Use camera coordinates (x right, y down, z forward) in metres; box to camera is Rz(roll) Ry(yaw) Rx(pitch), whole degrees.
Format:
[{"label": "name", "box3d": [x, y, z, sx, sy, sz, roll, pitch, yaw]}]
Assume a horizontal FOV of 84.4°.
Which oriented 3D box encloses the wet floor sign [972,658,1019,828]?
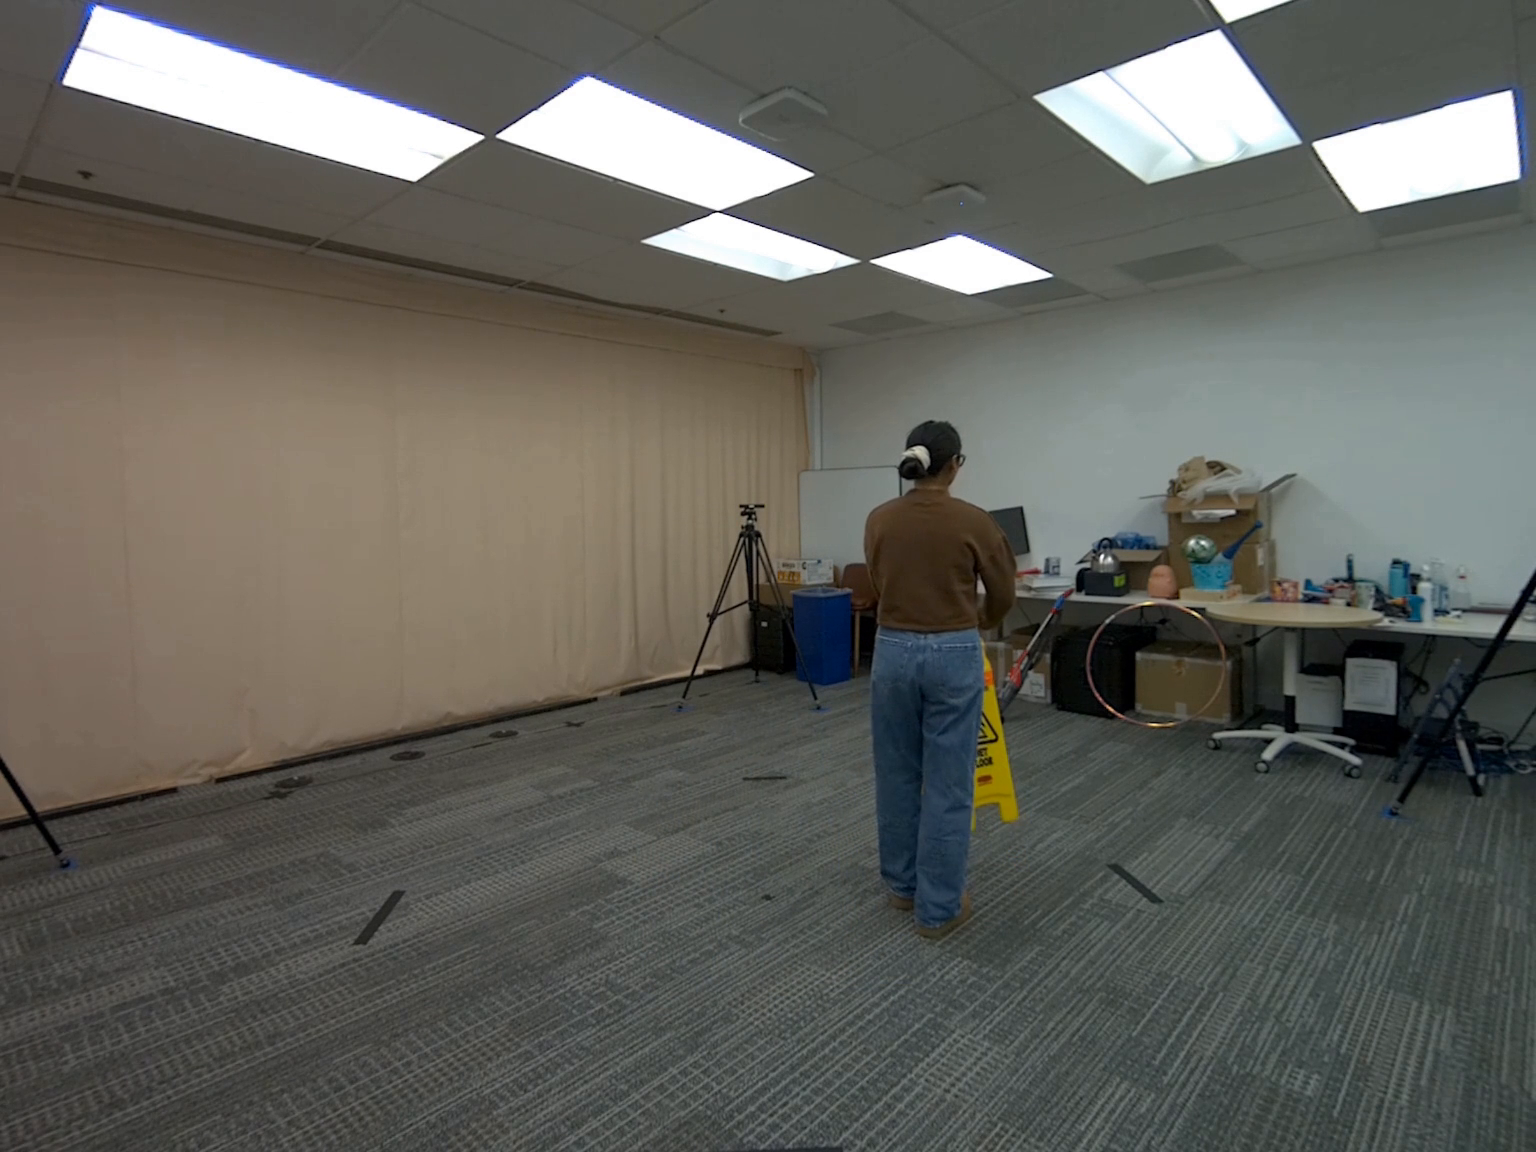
[{"label": "wet floor sign", "box3d": [0.720, 0.554, 3.083, 0.275, 0.645, 0.298, -3, 3, -29]}]
